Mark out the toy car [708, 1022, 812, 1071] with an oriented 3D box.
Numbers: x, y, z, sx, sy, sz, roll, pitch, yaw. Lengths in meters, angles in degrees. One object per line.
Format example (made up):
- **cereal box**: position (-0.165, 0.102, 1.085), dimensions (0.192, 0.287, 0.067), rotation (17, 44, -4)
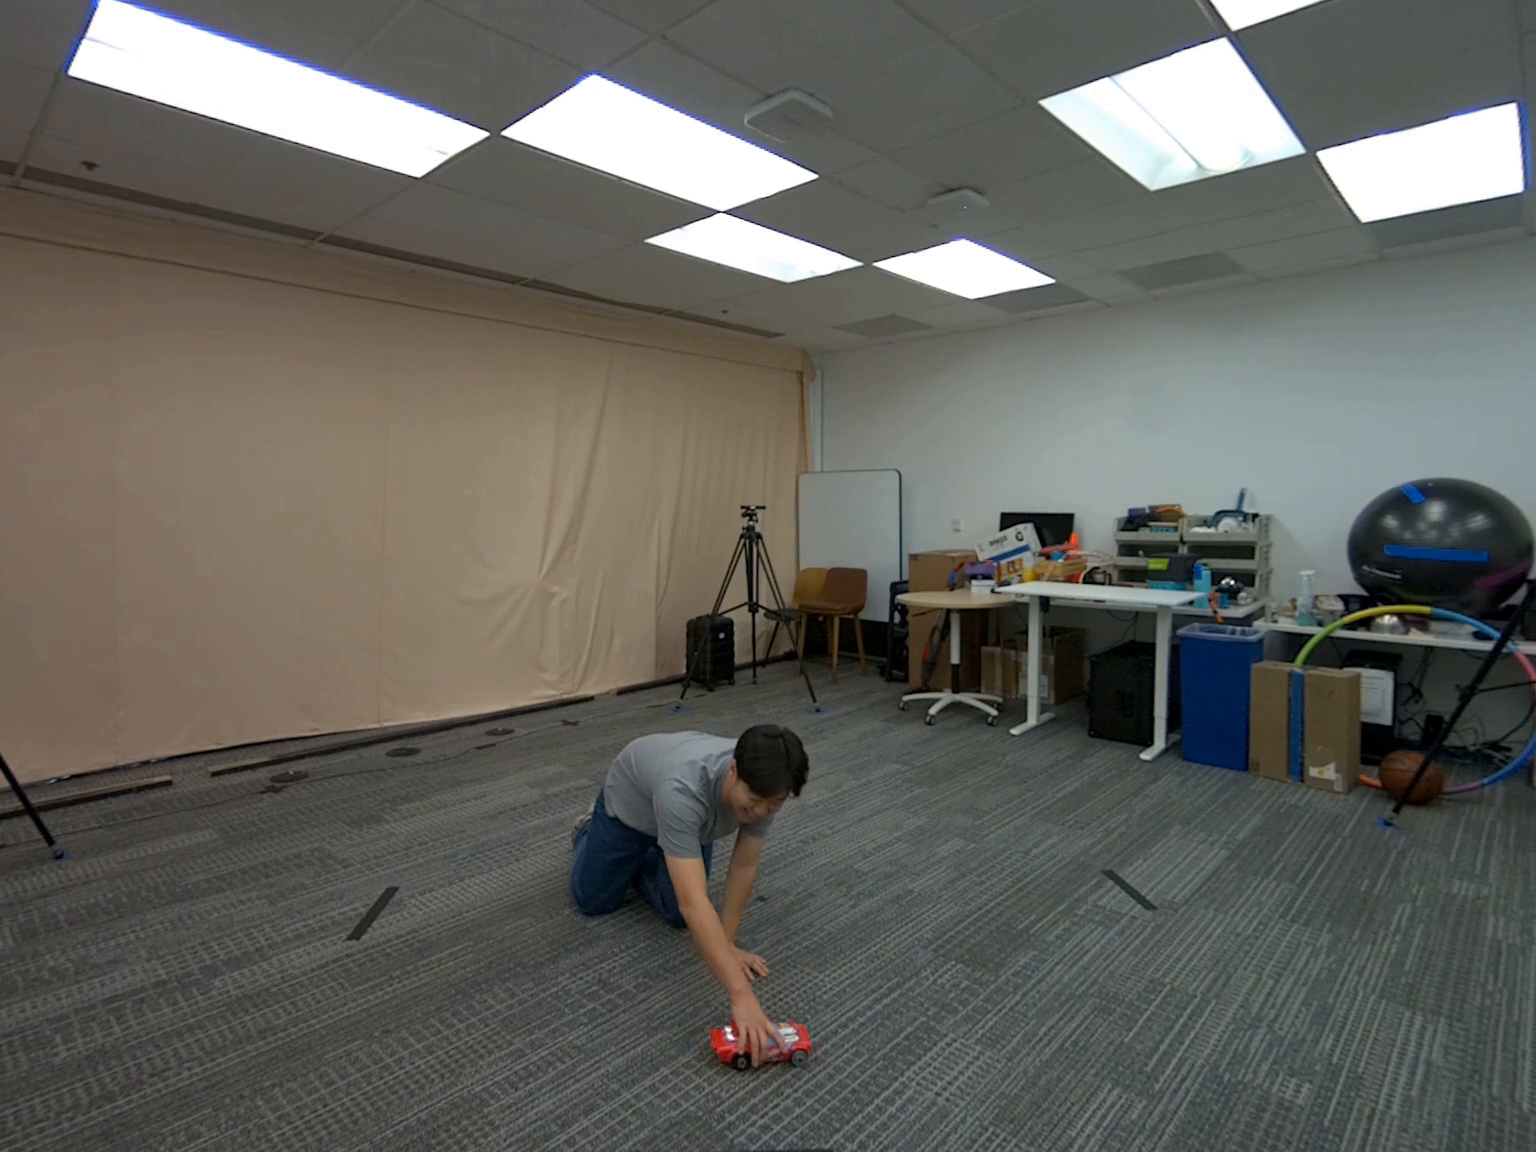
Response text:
- **toy car**: position (-0.022, 1.187, 2.125), dimensions (0.252, 0.083, 0.132), rotation (10, 3, -9)
